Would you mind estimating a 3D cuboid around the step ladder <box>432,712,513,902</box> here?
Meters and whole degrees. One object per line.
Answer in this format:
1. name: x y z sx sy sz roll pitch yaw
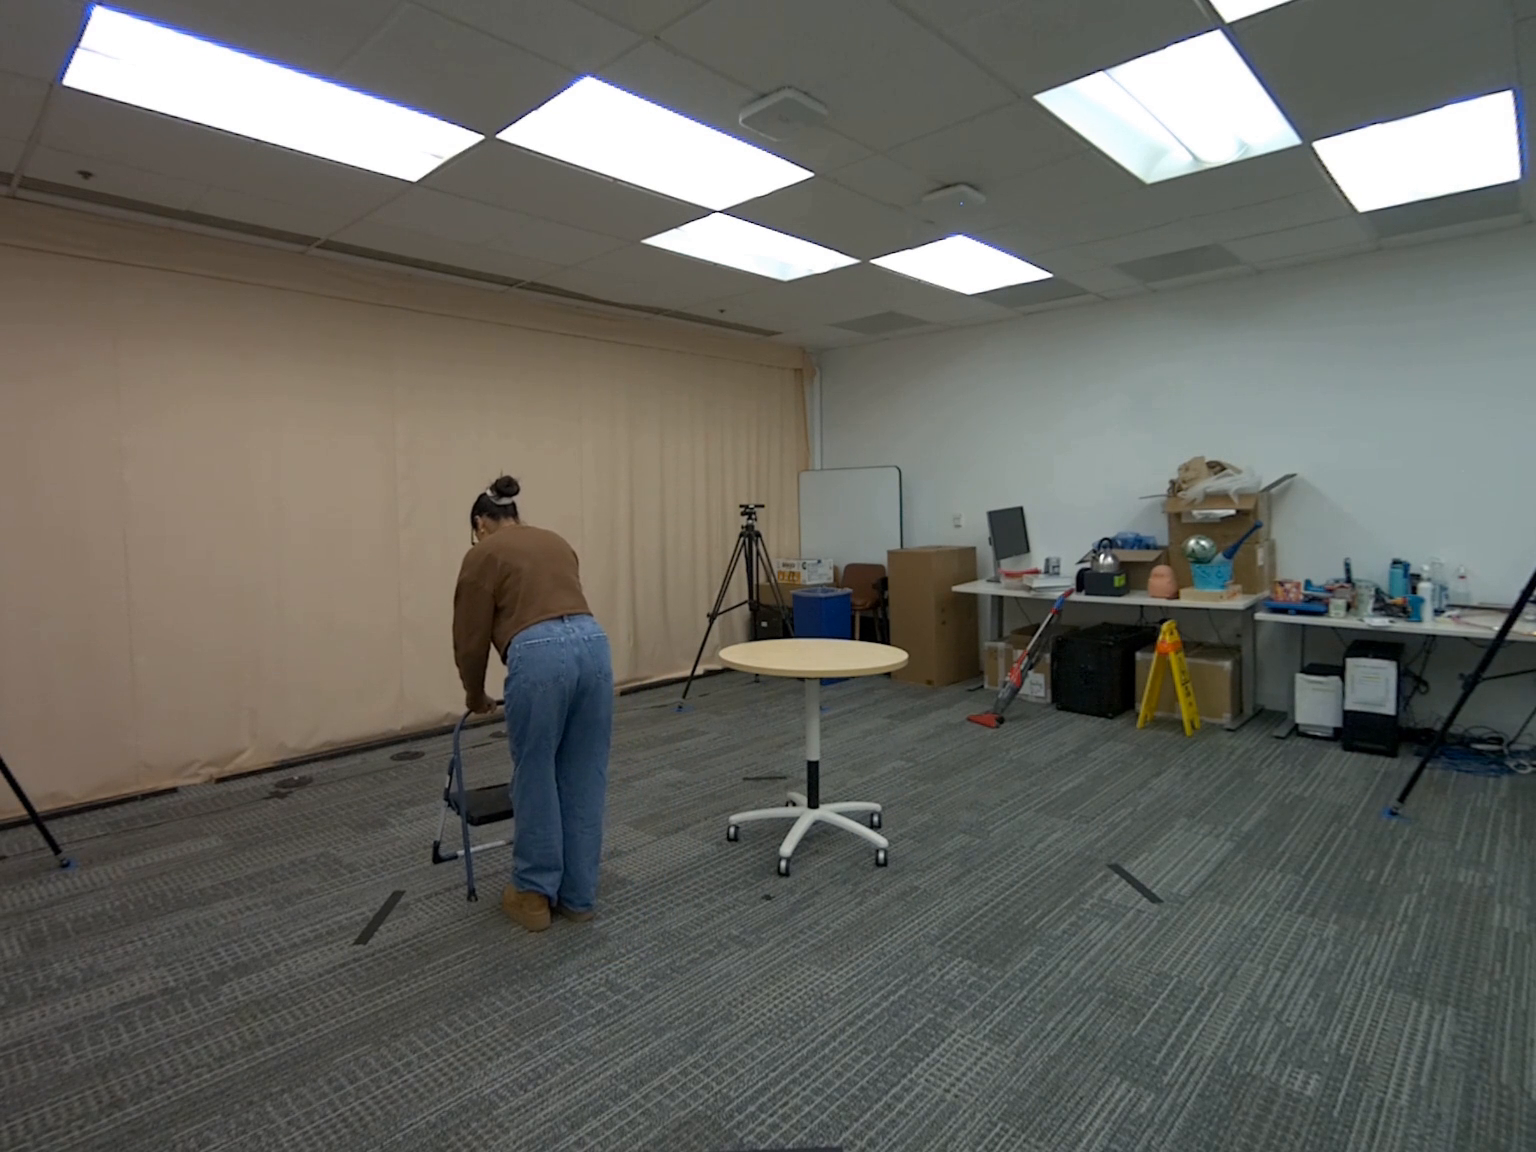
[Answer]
1. step ladder: -0.947 0.772 3.065 0.417 0.604 0.361 0 7 -44
